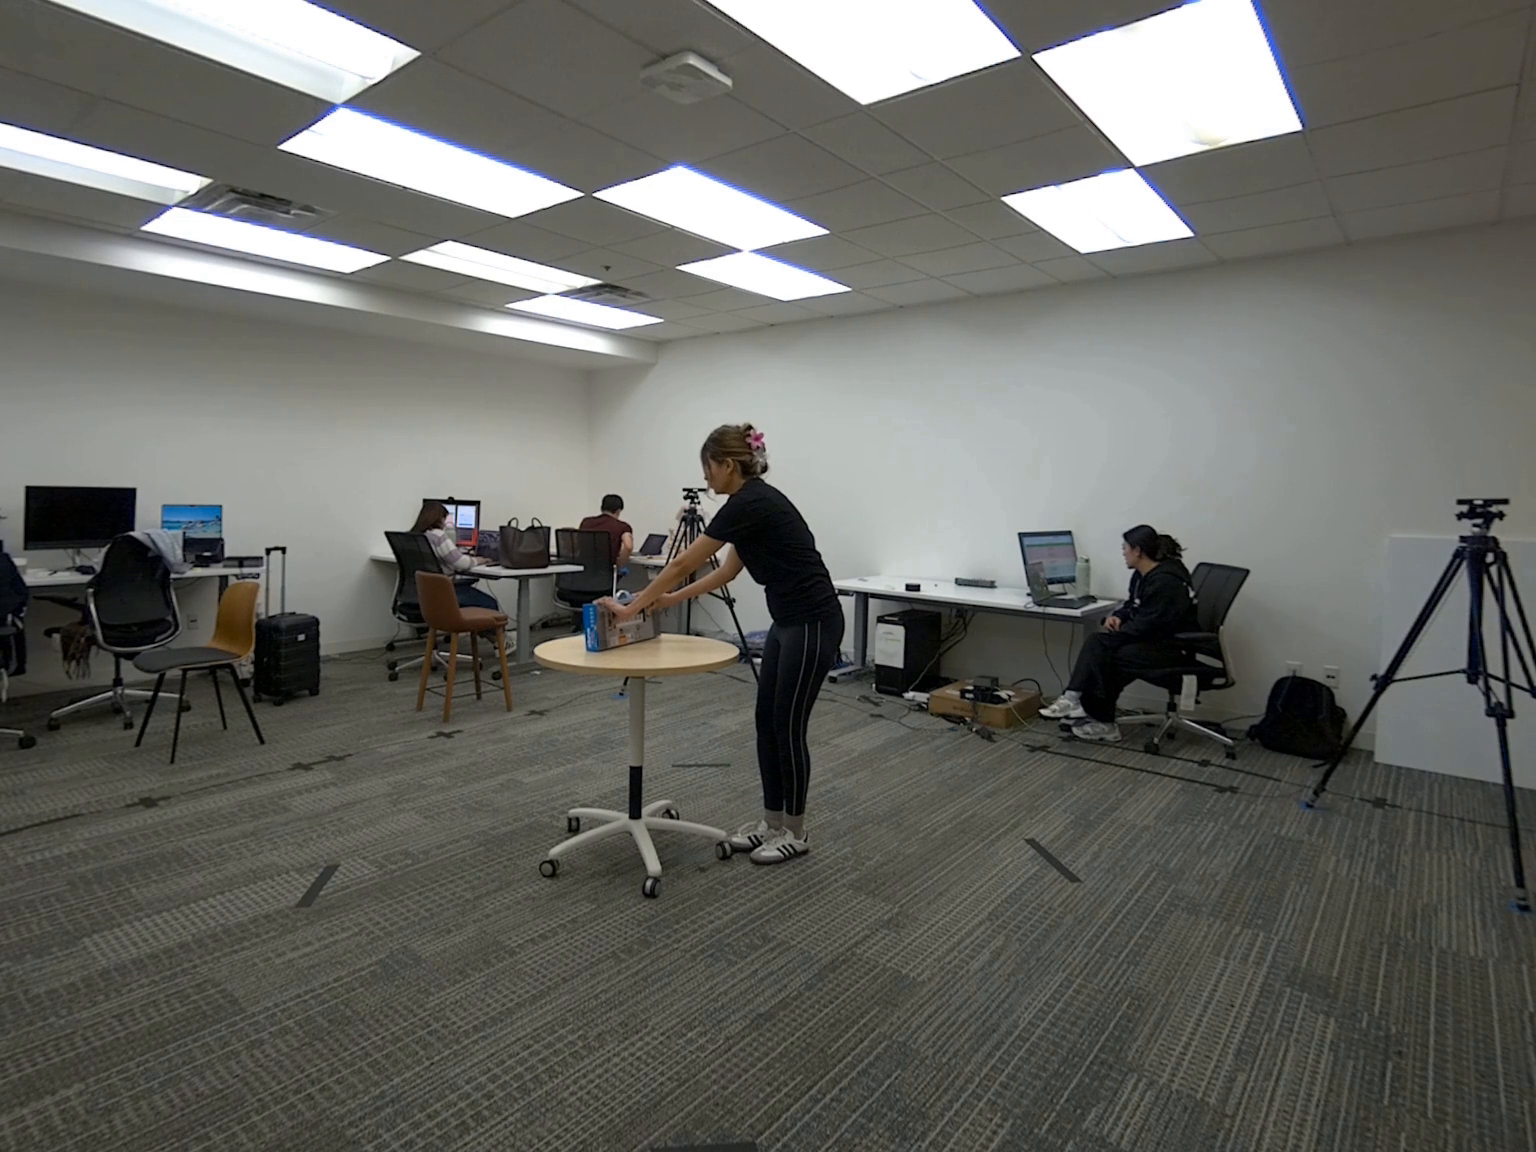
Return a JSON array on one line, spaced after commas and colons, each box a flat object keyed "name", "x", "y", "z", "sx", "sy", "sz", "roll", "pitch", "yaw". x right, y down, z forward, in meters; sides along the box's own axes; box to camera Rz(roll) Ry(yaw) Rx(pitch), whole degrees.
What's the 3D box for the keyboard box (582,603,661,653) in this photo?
[{"name": "keyboard box", "x": -0.575, "y": 0.177, "z": 3.321, "sx": 0.060, "sy": 0.176, "sz": 0.426, "roll": -6, "pitch": 1, "yaw": 26}]
